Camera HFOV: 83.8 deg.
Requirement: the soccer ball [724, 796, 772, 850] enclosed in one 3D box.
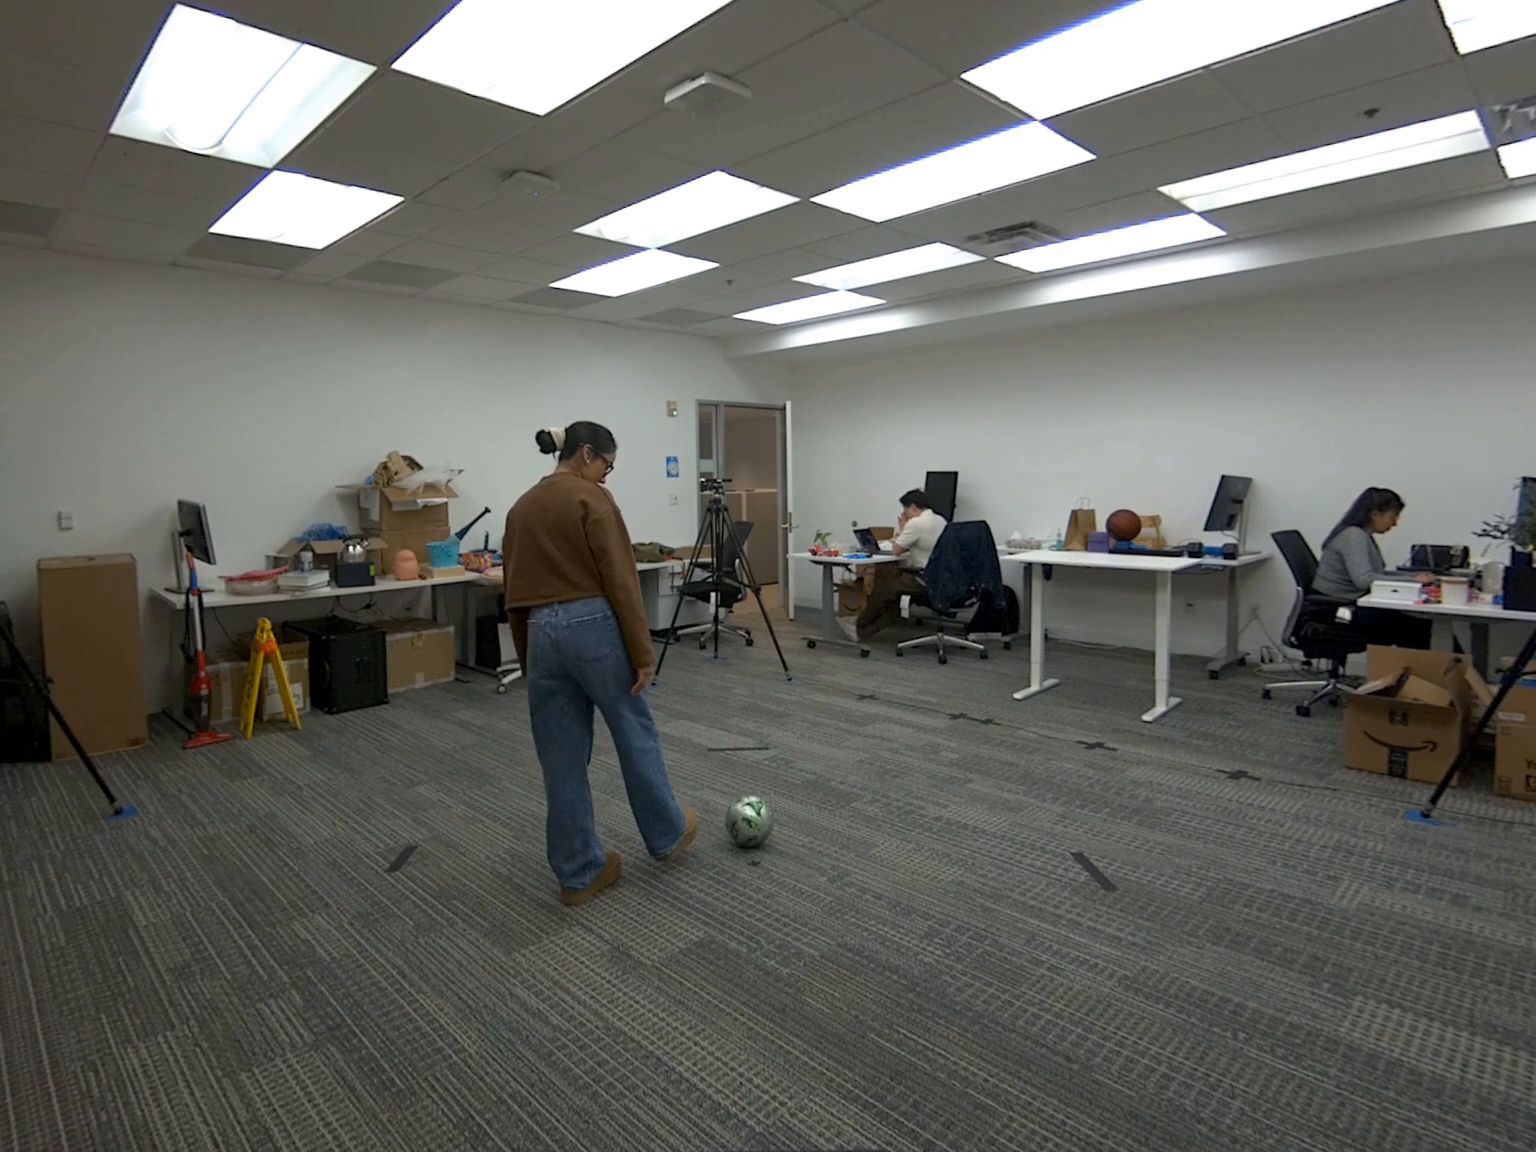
[{"bbox_3d":[-0.067,0.933,3.259,0.187,0.187,0.188,-1,5,-2],"label":"soccer ball"}]
